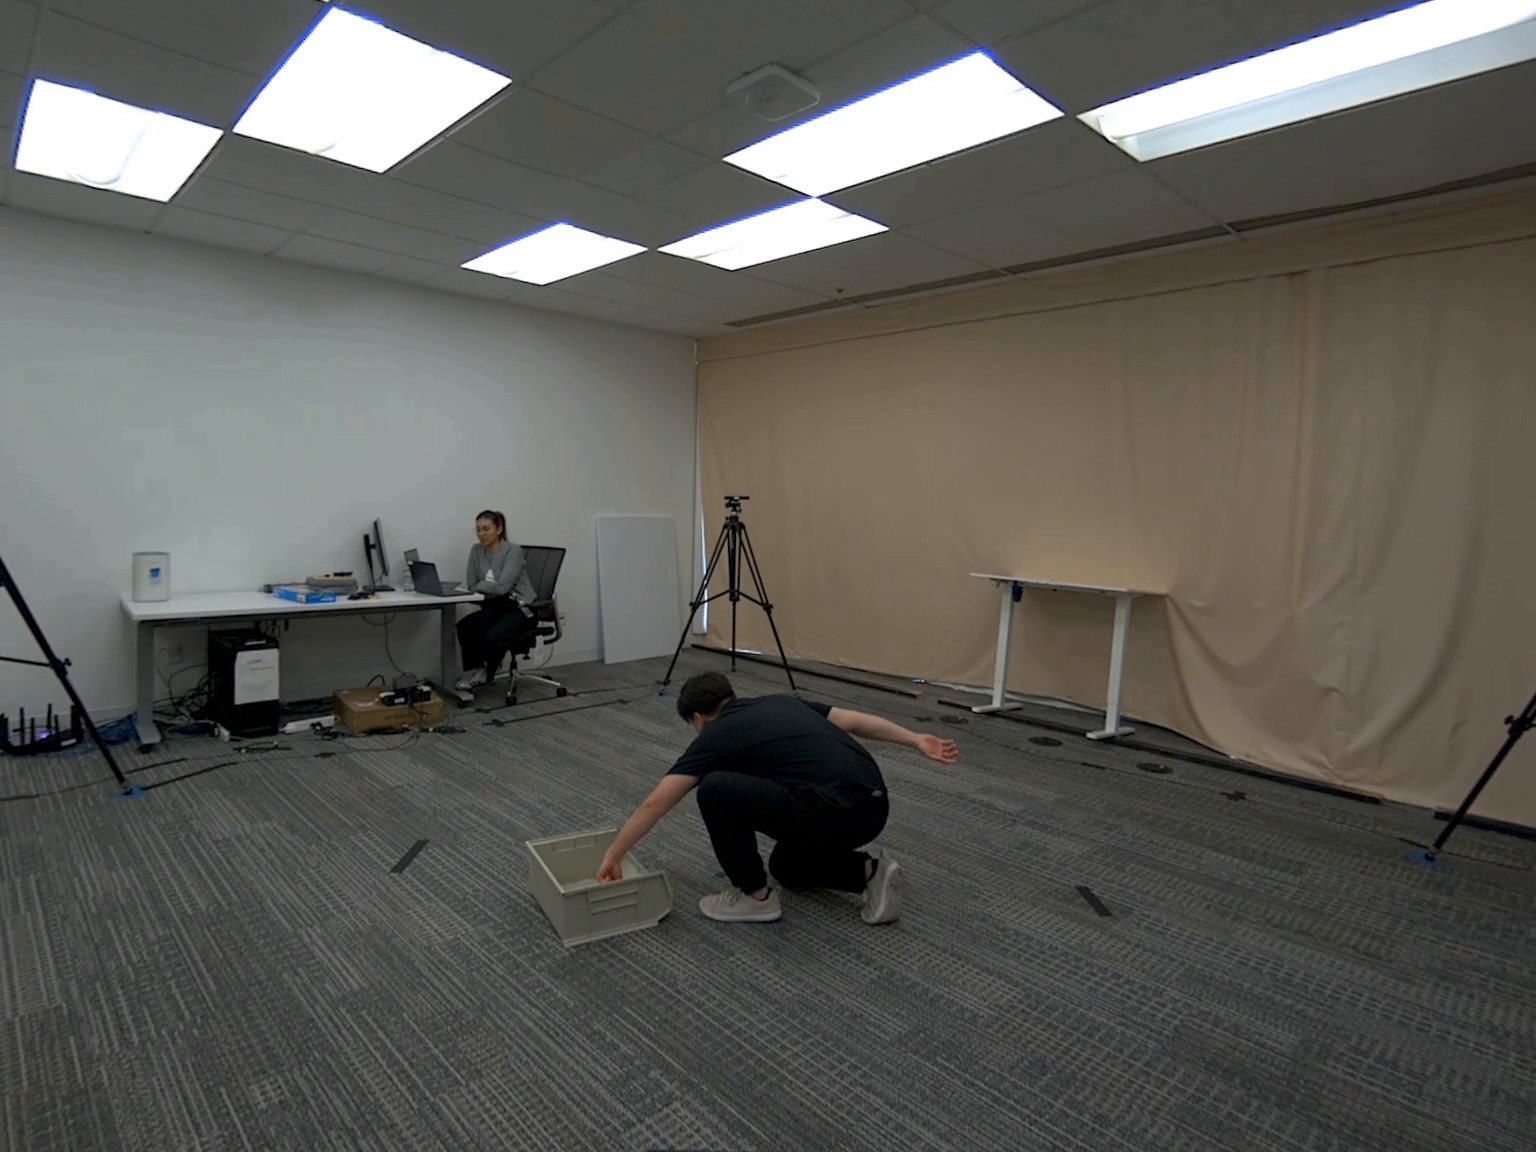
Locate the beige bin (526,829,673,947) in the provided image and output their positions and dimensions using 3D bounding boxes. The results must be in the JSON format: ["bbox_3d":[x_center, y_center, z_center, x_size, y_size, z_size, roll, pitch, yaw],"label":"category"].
[{"bbox_3d":[-0.576,1.024,2.839,0.370,0.188,0.432,-2,7,-30],"label":"beige bin"}]
